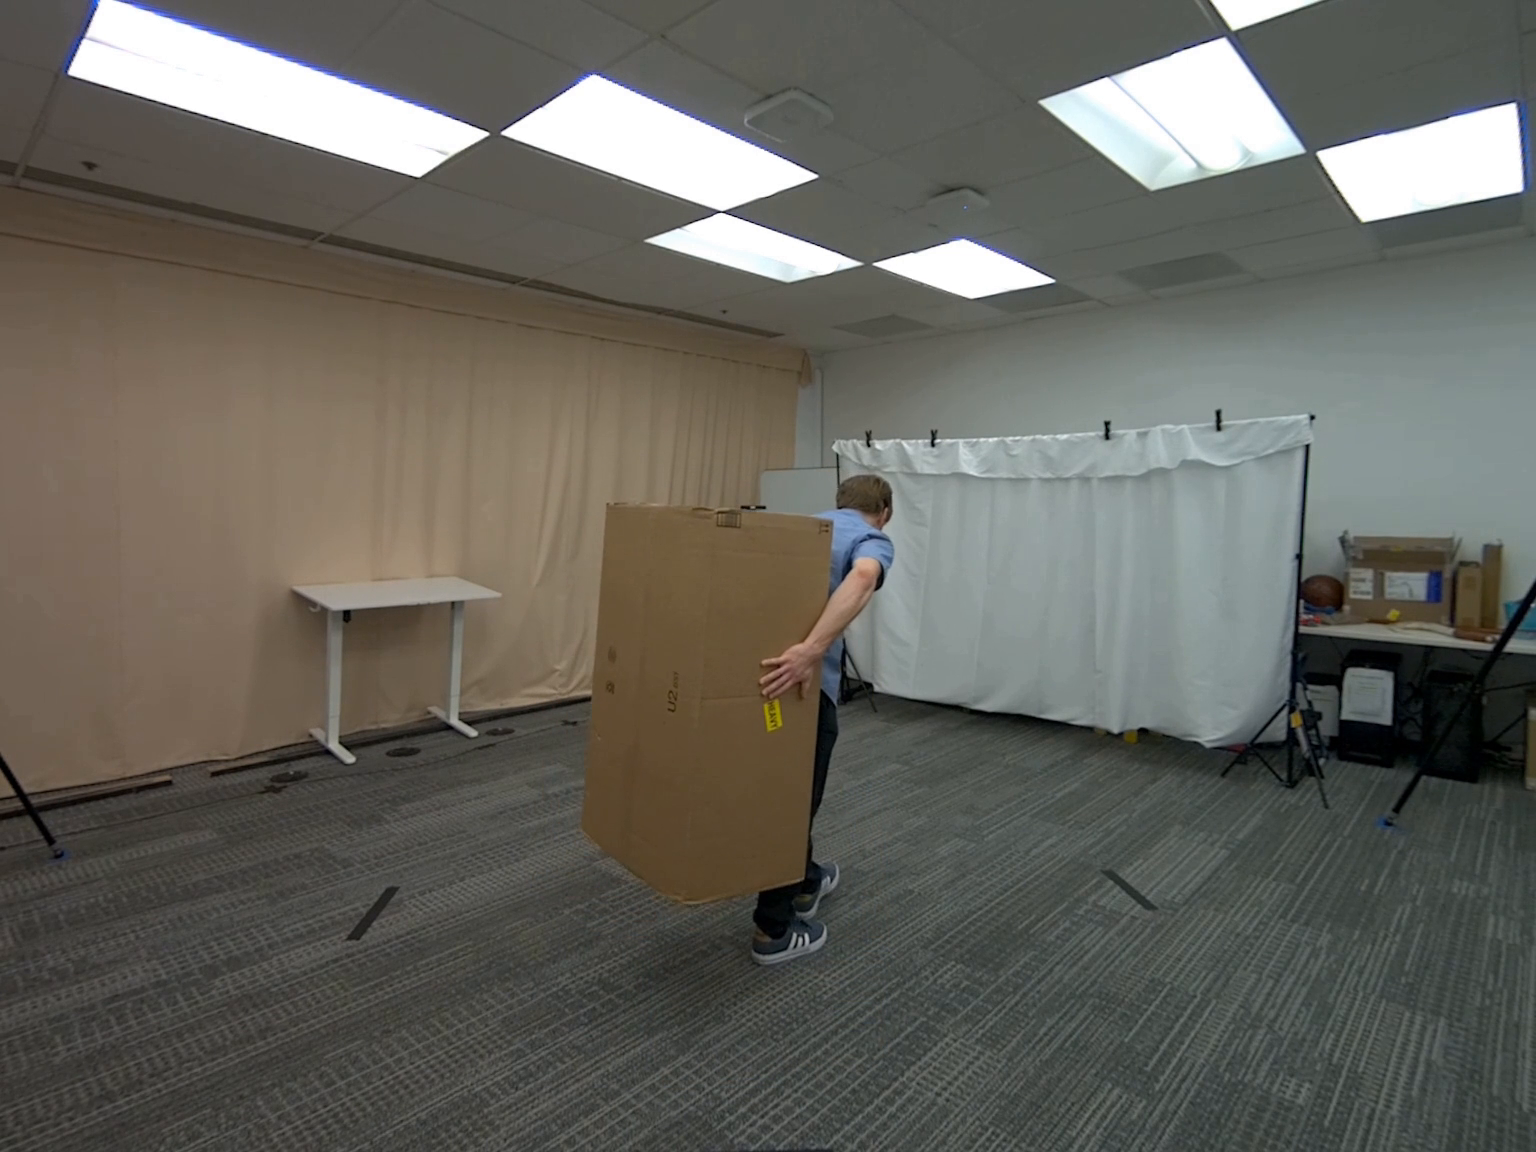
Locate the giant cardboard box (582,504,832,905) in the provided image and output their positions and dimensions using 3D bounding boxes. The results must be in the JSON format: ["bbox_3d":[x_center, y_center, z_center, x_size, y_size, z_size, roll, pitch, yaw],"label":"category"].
[{"bbox_3d":[-0.196,0.321,2.464,0.432,1.026,0.603,4,1,-39],"label":"giant cardboard box"}]
